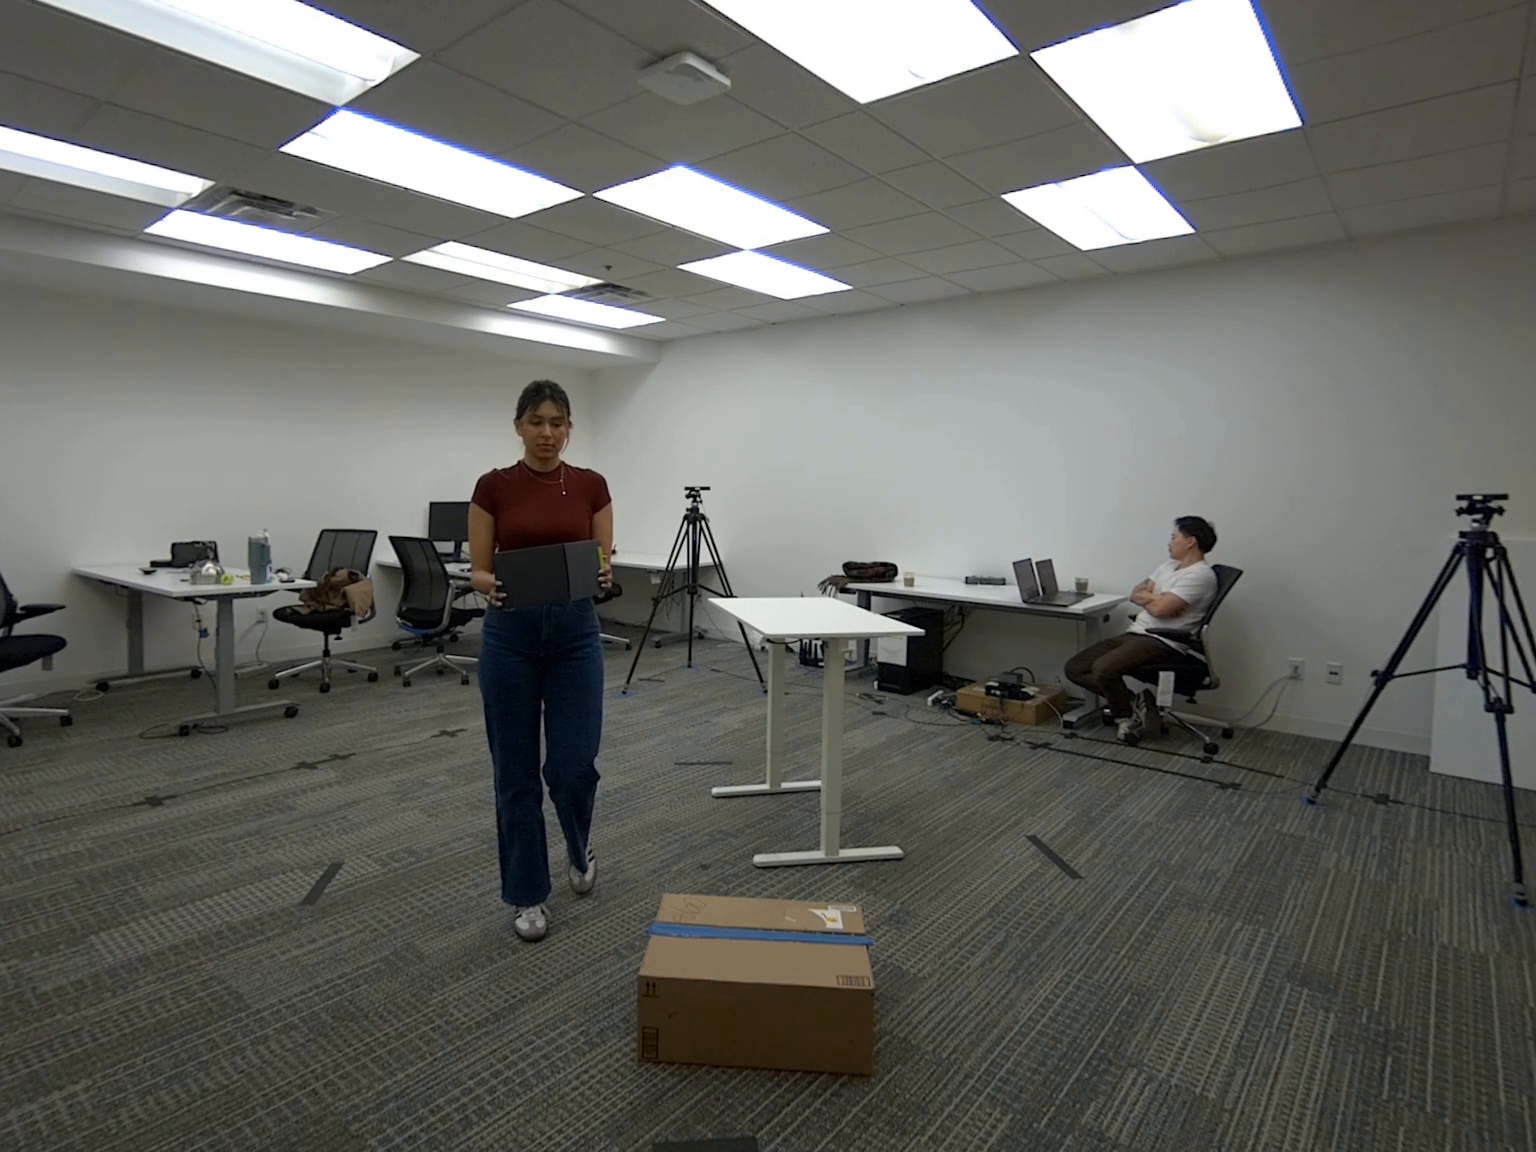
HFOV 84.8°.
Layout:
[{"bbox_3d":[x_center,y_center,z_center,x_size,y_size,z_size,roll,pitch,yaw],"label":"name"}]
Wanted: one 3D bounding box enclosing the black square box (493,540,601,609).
[{"bbox_3d":[-0.613,-0.010,2.381,0.232,0.156,0.214,-6,2,18],"label":"black square box"}]
